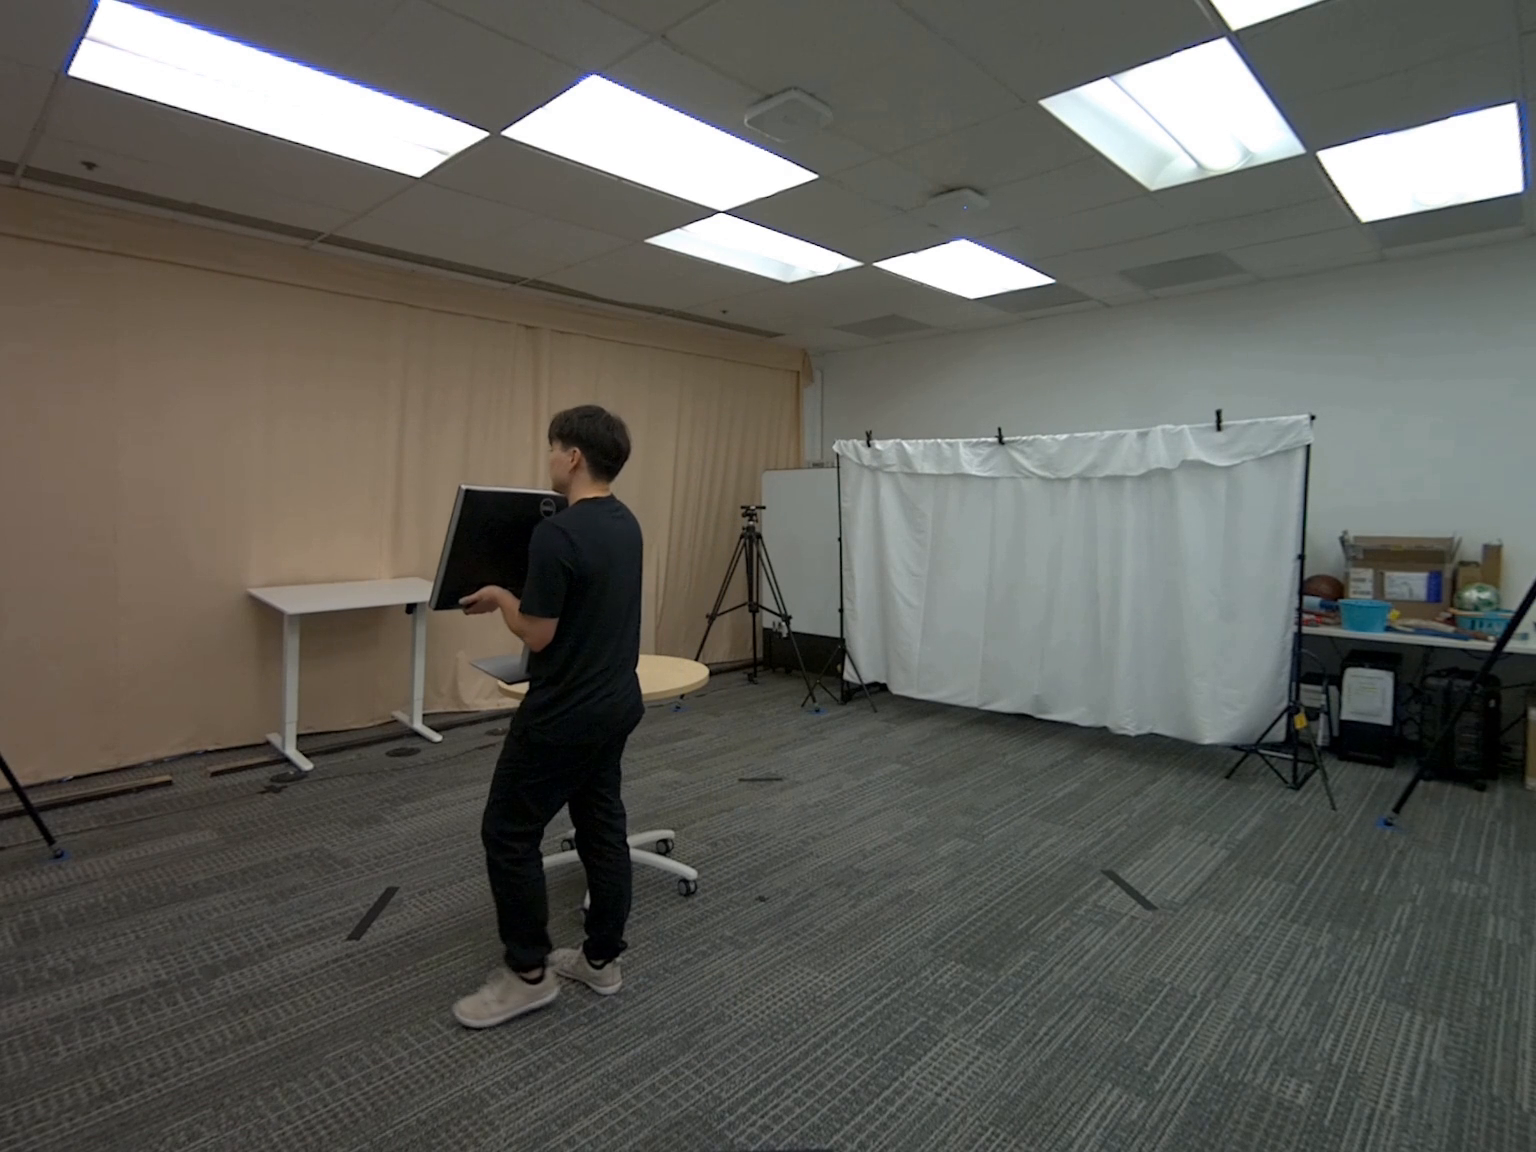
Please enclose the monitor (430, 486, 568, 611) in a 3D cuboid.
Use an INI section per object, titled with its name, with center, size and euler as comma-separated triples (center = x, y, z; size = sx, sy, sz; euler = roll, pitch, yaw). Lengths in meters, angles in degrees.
[monitor]
center = -0.692, 0.017, 2.471
size = 0.193, 0.521, 0.522
euler = 14, 8, 35
